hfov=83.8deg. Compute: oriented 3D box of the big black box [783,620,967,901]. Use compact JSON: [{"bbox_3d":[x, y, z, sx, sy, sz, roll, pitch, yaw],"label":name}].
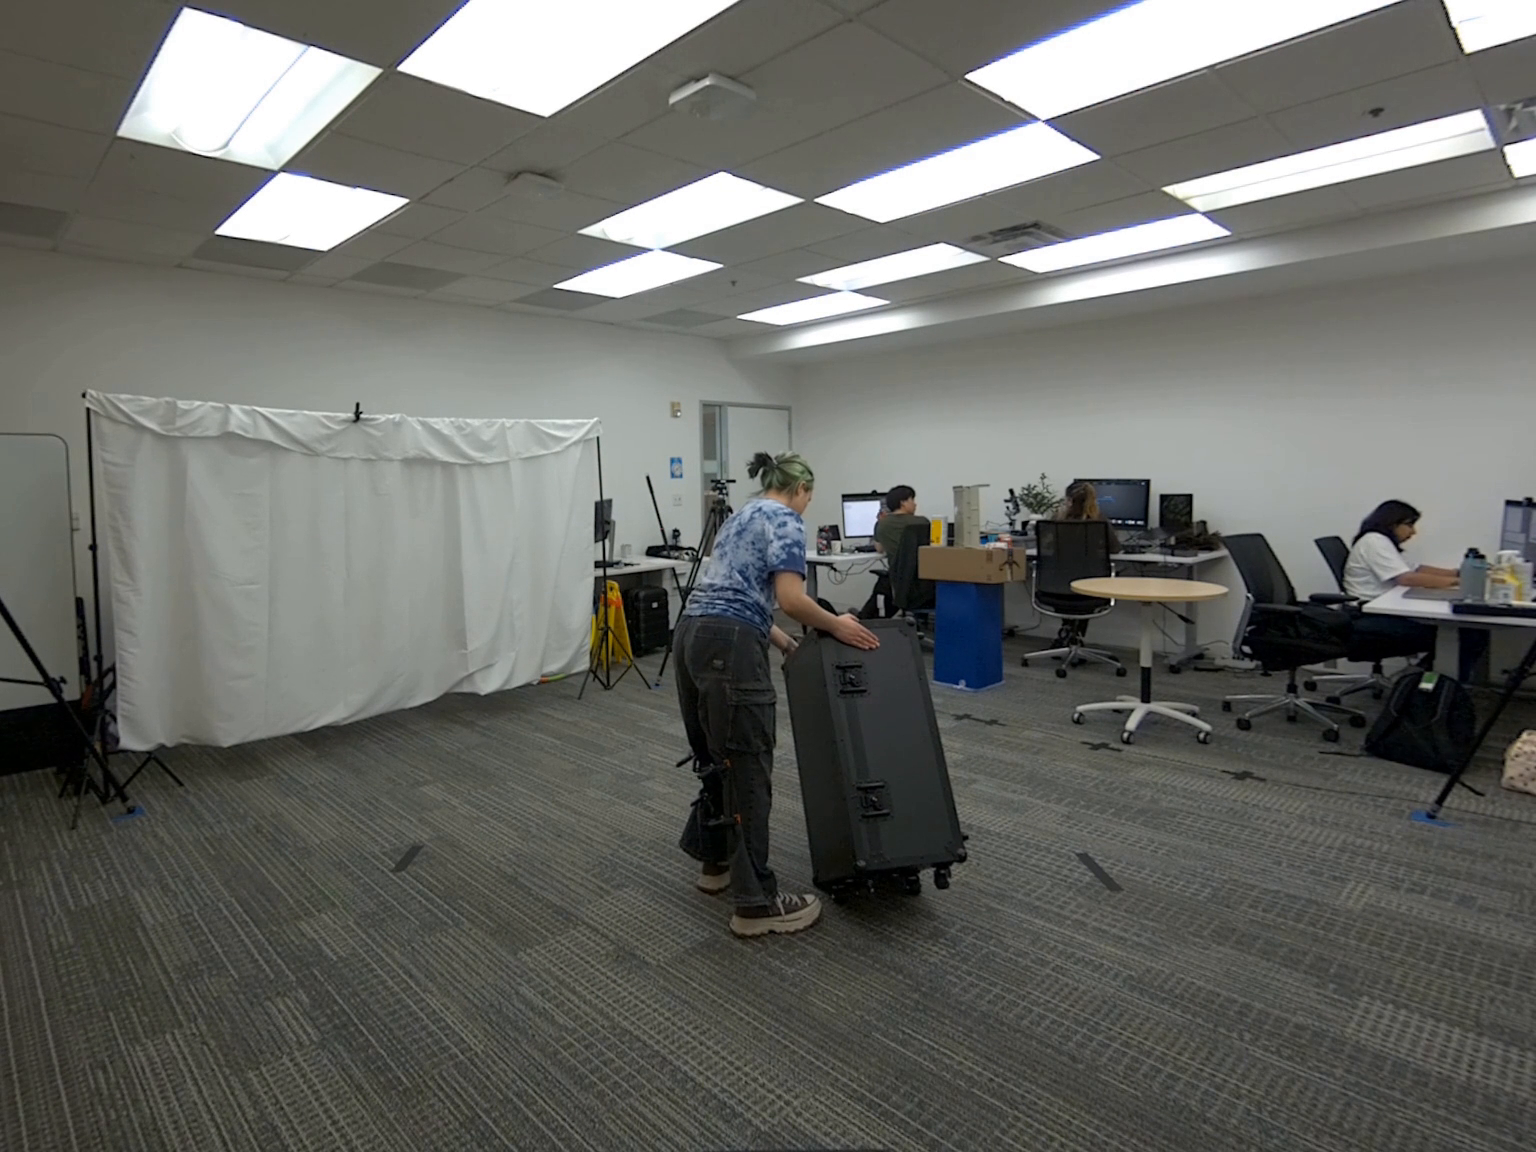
[{"bbox_3d":[0.347,0.630,2.925,0.391,0.882,0.515,0,-26,-14],"label":"big black box"}]
